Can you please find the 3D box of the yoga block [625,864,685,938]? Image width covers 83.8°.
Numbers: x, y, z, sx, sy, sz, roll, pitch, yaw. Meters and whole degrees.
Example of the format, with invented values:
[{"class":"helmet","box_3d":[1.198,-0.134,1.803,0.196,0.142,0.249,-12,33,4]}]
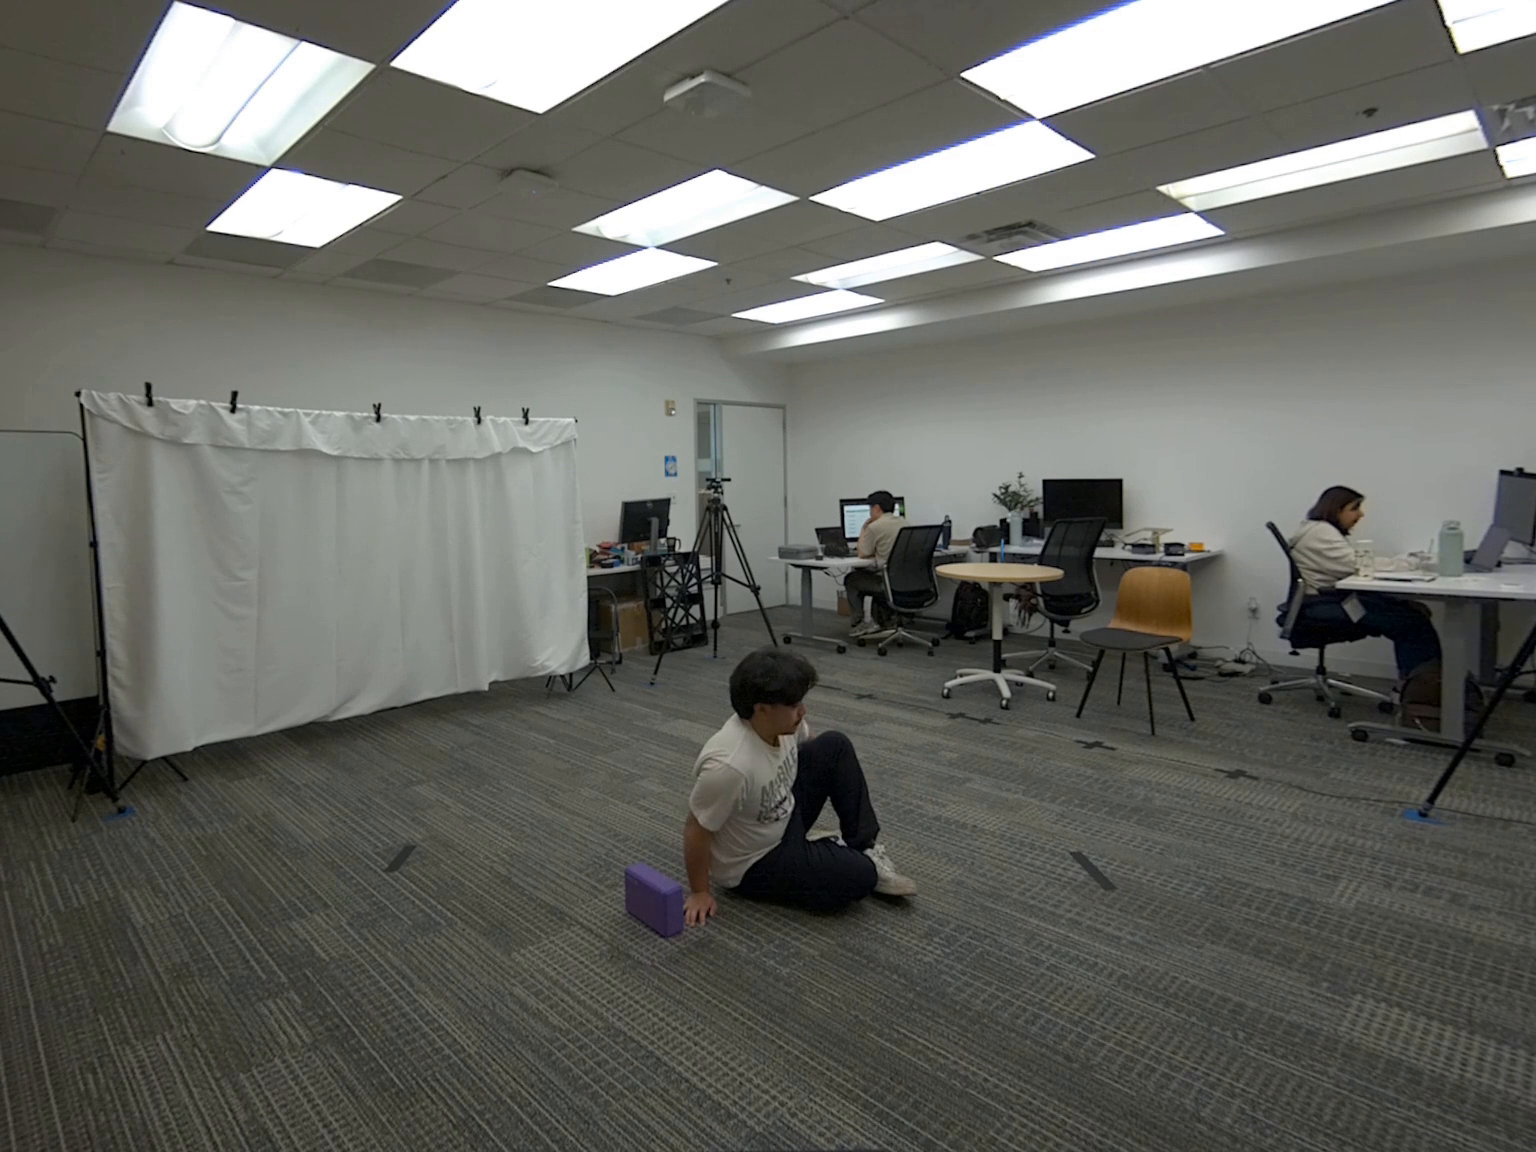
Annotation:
[{"class":"yoga block","box_3d":[-0.356,1.019,2.702,0.074,0.148,0.236,-5,9,-36]}]
